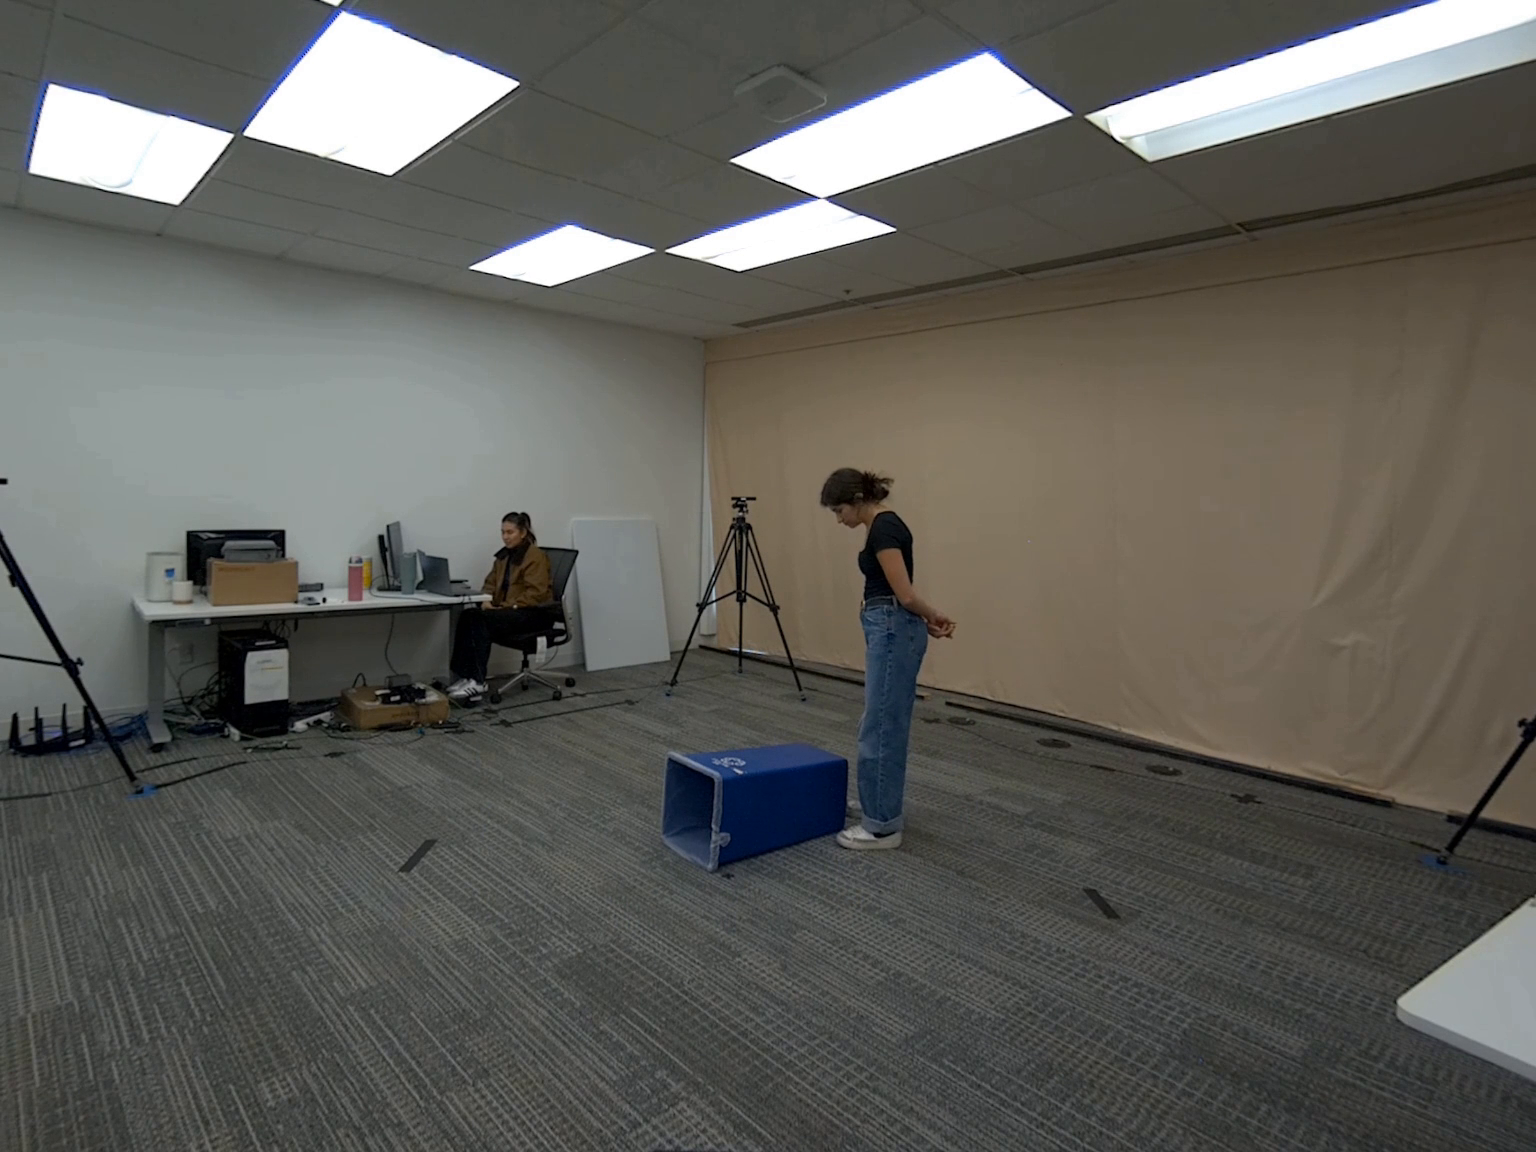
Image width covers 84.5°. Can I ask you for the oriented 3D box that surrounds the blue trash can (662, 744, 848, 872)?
[{"bbox_3d":[-0.047,0.913,3.464,0.696,0.378,0.383,2,3,-39],"label":"blue trash can"}]
